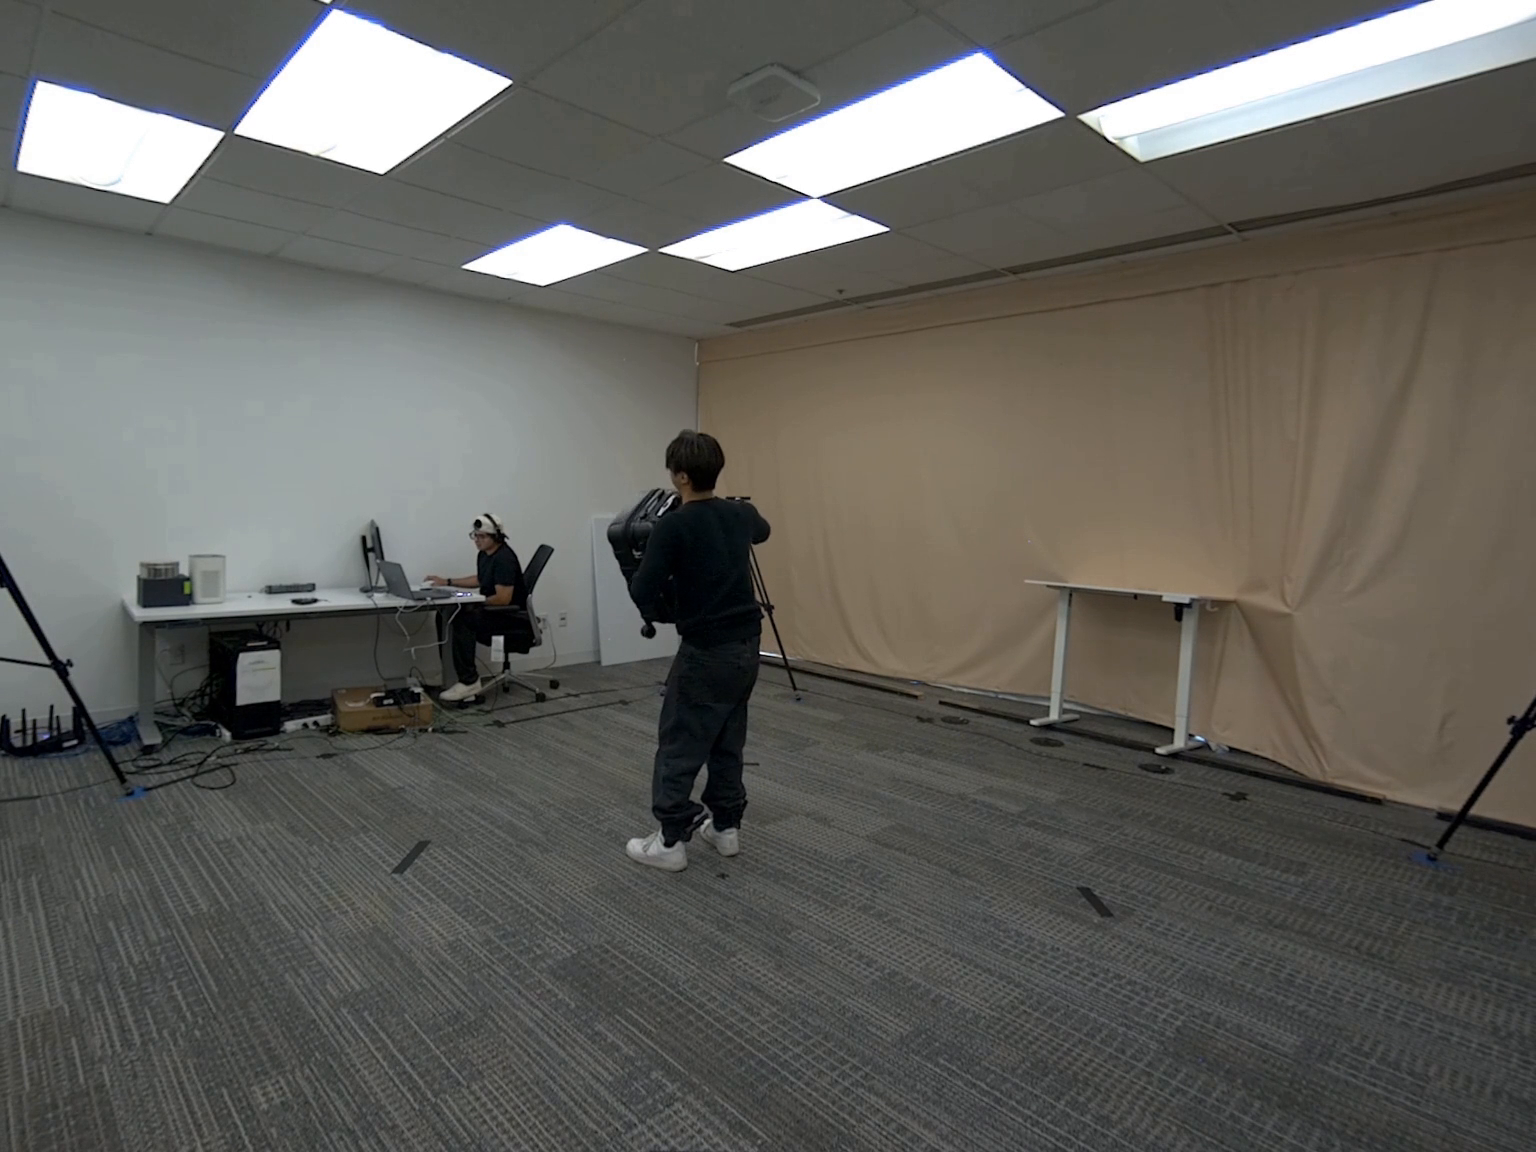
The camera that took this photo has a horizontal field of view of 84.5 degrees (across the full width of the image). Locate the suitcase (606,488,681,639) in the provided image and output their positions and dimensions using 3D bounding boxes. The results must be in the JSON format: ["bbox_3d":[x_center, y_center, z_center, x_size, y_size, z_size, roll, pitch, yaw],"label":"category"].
[{"bbox_3d":[-0.443,-0.070,3.509,0.253,0.536,0.378,-5,32,27],"label":"suitcase"}]
